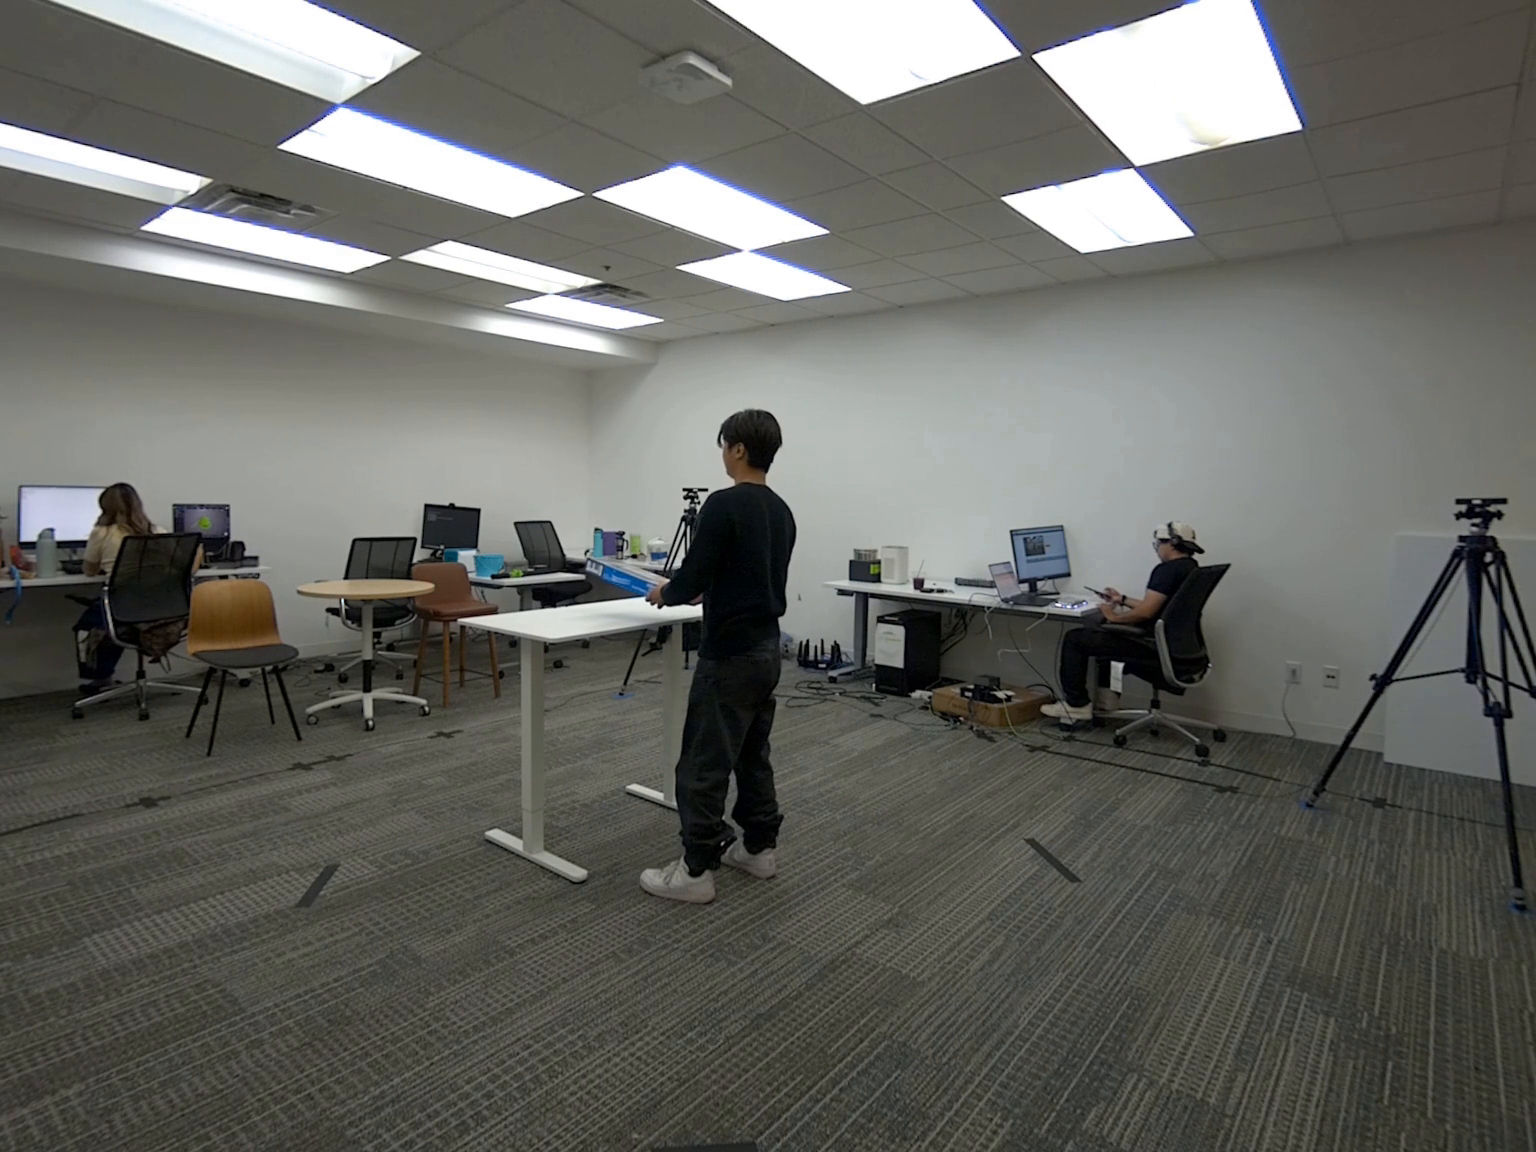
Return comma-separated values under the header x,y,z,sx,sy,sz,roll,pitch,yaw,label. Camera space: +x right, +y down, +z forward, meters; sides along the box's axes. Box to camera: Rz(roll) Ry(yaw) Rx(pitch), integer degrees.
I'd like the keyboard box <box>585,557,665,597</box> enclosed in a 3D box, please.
x,y,z,sx,sy,sz,roll,pitch,yaw,label
-0.525,0.016,3.316,0.454,0.059,0.170,20,11,37,keyboard box
